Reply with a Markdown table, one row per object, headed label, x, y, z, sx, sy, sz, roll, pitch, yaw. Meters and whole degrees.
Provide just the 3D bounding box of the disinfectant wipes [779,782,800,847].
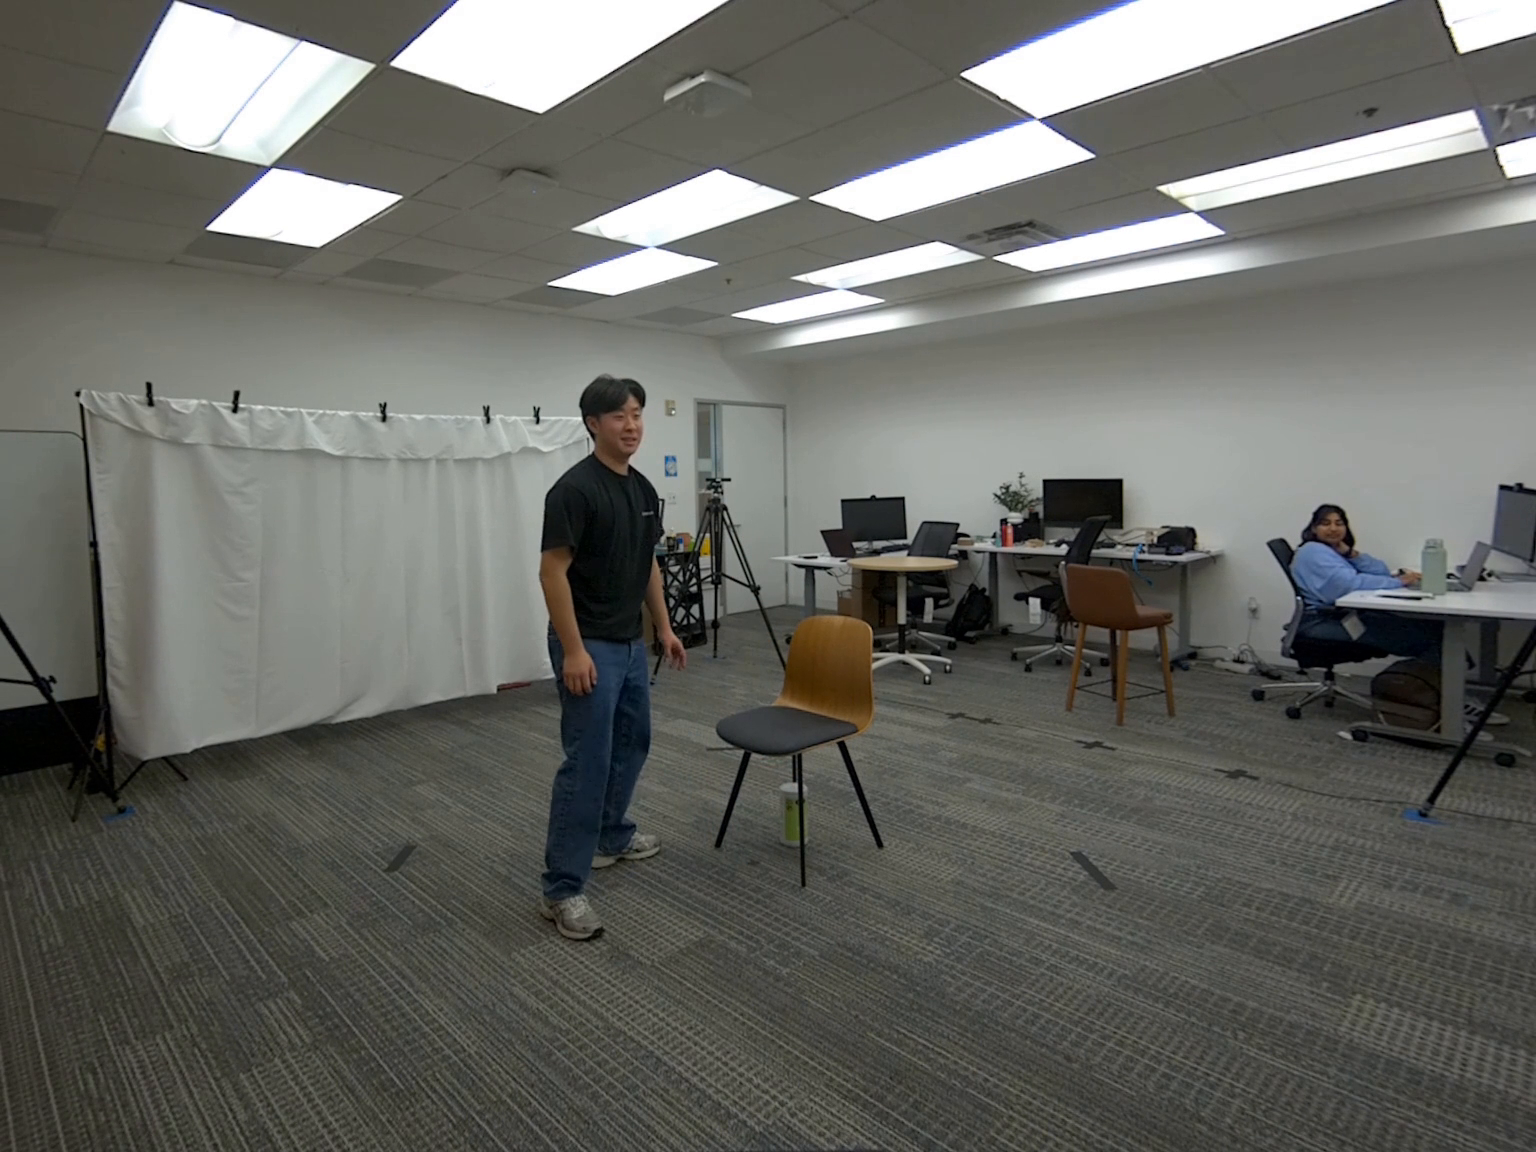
| label | x | y | z | sx | sy | sz | roll | pitch | yaw |
| --- | --- | --- | --- | --- | --- | --- | --- | --- | --- |
| disinfectant wipes | 0.099 | 0.910 | 3.271 | 0.118 | 0.217 | 0.118 | -1 | 4 | -2 |
